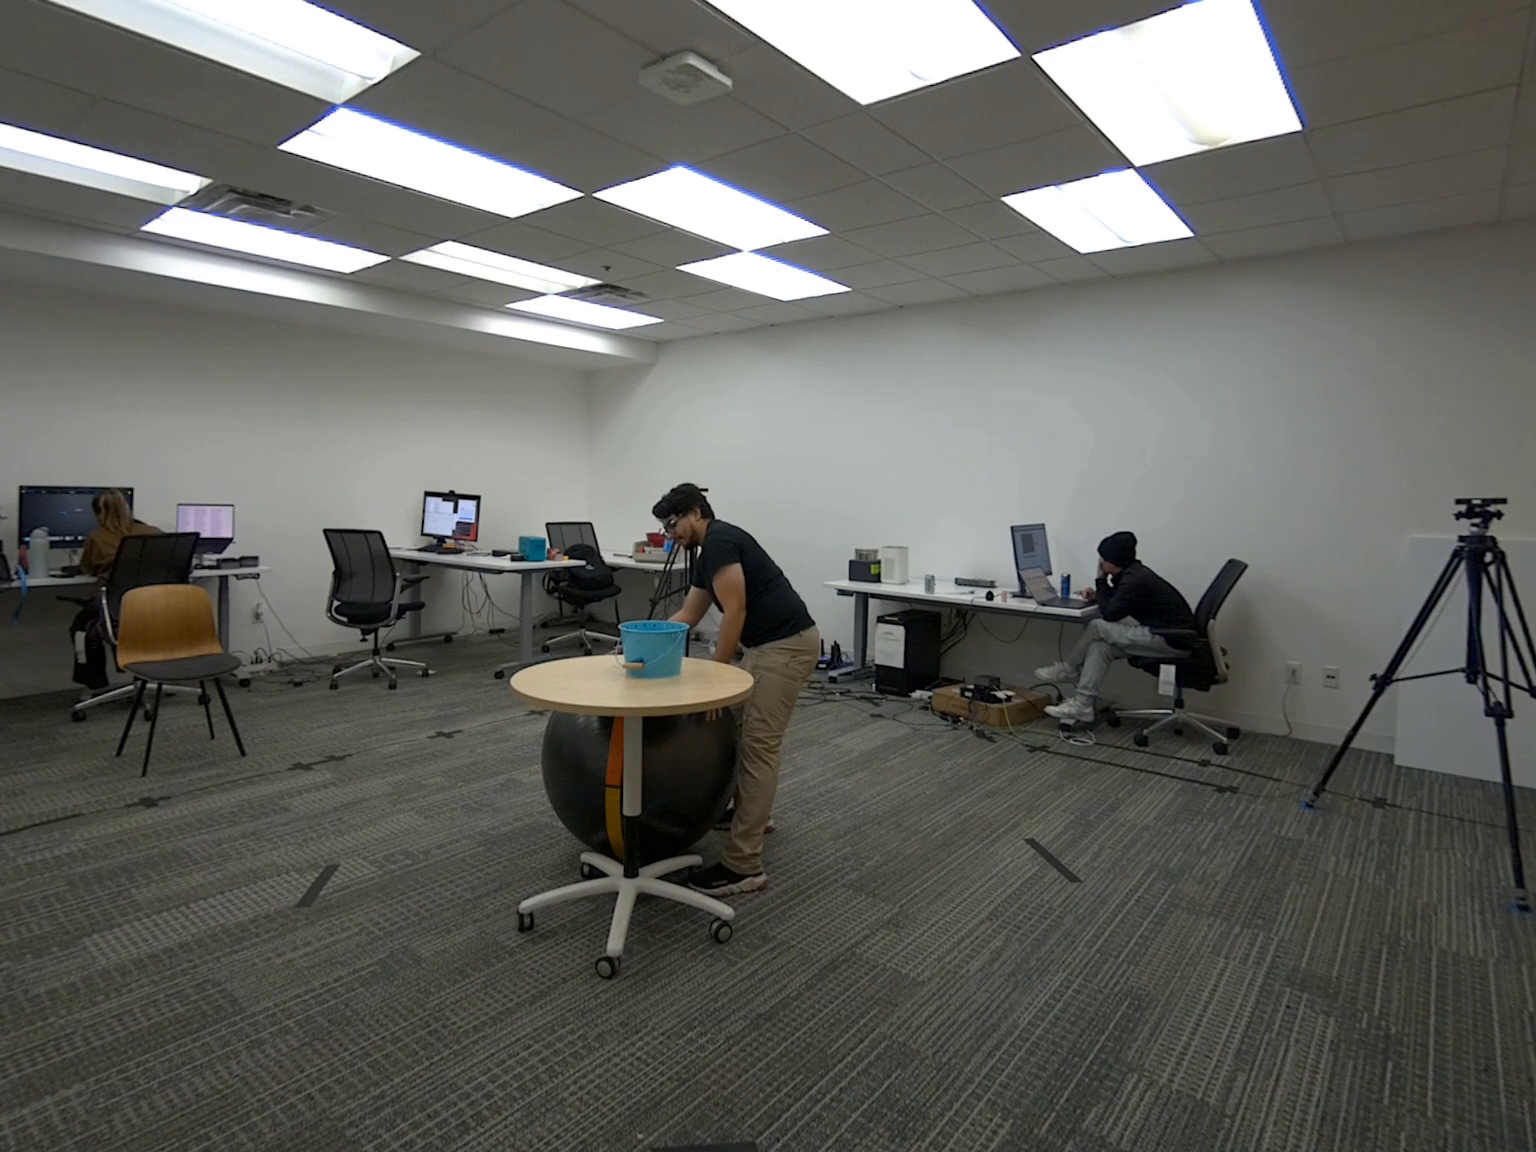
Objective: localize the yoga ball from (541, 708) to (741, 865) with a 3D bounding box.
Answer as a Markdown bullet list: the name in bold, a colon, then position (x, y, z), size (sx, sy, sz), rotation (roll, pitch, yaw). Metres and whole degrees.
- **yoga ball**: position (-0.504, 0.684, 3.264), size (0.757, 0.755, 0.762), rotation (1, 4, -2)
